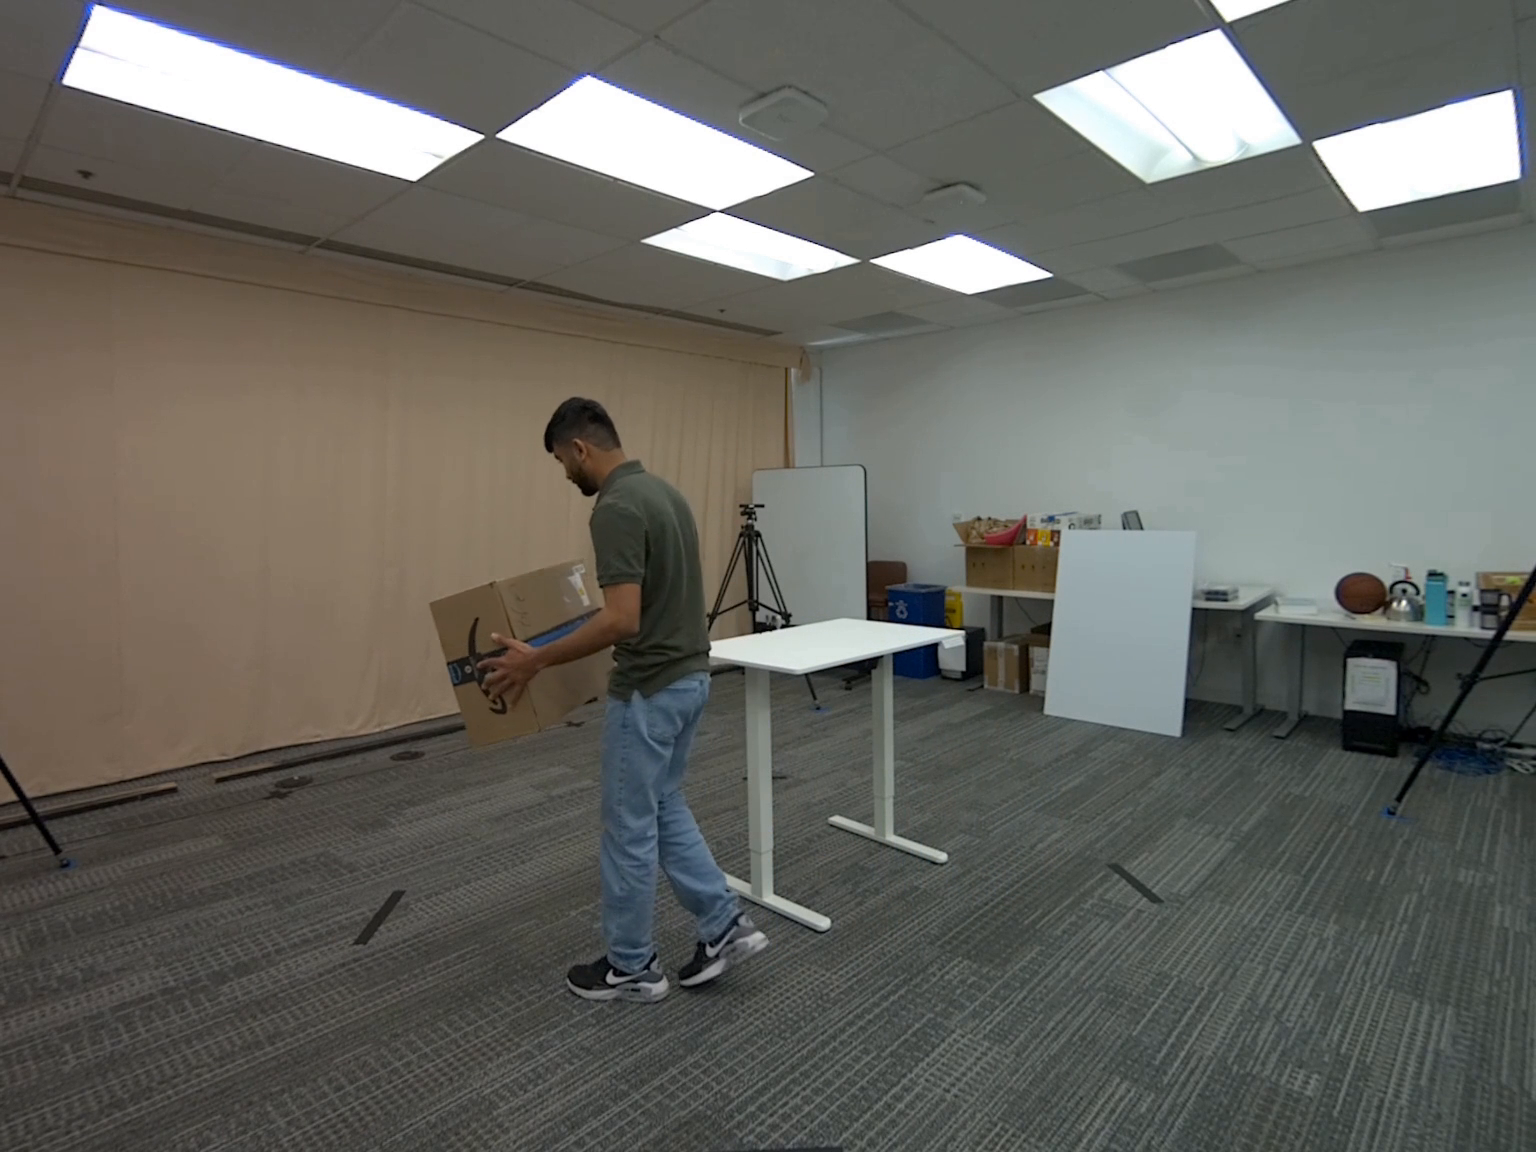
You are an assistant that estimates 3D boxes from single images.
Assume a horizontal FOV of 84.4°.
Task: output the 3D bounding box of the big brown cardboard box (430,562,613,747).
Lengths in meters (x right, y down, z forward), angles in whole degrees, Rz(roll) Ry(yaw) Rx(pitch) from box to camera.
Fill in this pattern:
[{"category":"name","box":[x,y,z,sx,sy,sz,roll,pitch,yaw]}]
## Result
[{"category":"big brown cardboard box","box":[-0.687,0.209,2.507,0.236,0.417,0.583,-16,3,14]}]
